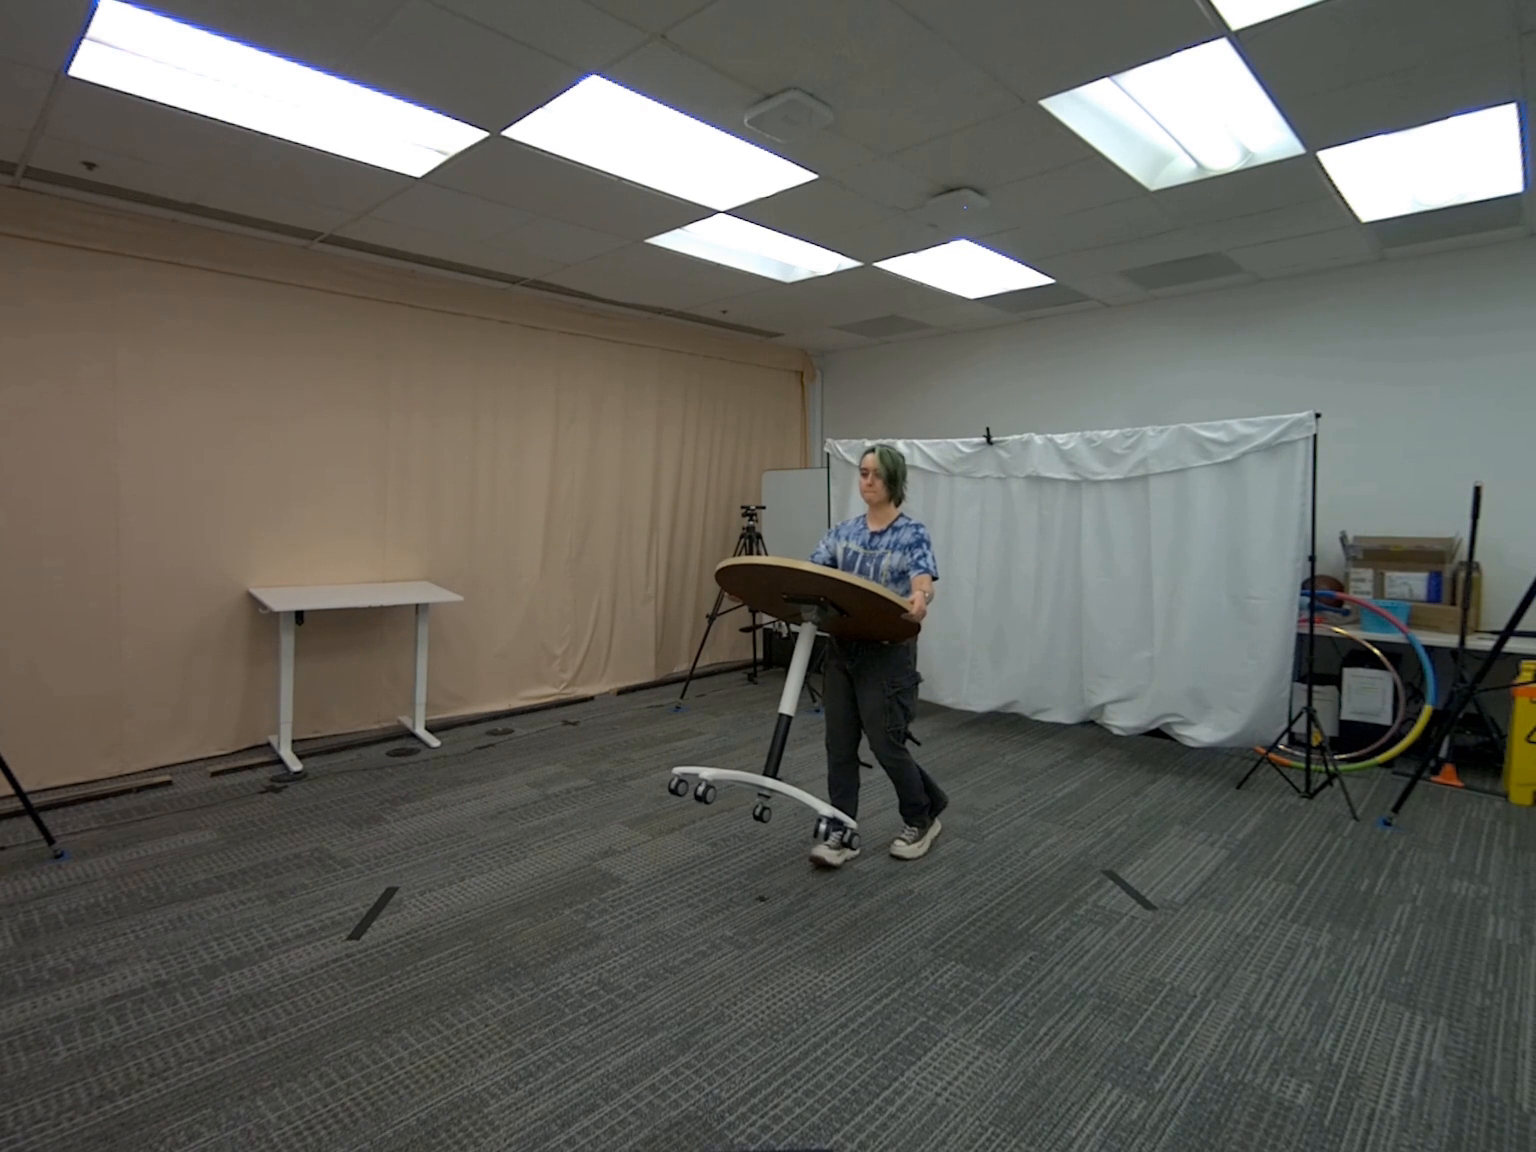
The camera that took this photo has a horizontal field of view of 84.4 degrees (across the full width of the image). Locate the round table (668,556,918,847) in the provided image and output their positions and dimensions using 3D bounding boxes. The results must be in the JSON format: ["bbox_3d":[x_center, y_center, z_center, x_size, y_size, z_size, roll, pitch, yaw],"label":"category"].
[{"bbox_3d":[0.071,0.456,2.947,0.768,0.798,0.757,16,-16,3],"label":"round table"}]
